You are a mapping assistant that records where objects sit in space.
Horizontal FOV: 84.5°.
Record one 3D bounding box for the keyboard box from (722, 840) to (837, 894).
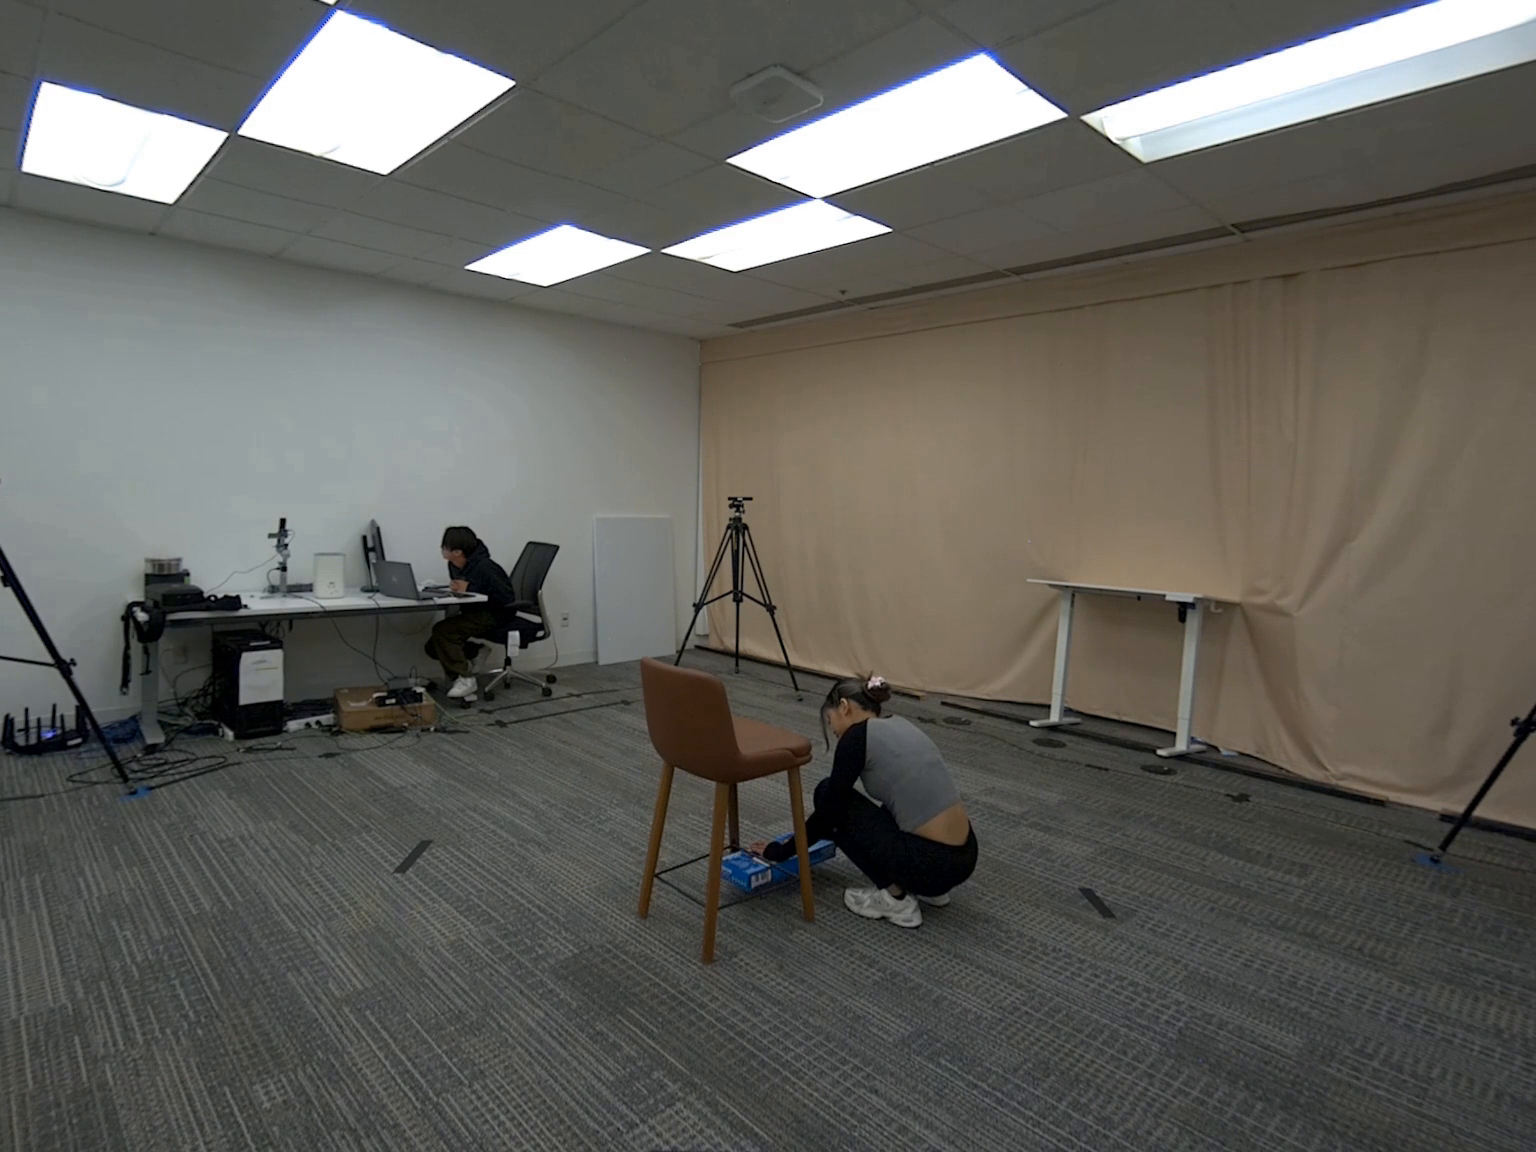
[{"bbox_3d":[0.040,1.017,3.035,0.427,0.059,0.180,-6,8,-42],"label":"keyboard box"}]
